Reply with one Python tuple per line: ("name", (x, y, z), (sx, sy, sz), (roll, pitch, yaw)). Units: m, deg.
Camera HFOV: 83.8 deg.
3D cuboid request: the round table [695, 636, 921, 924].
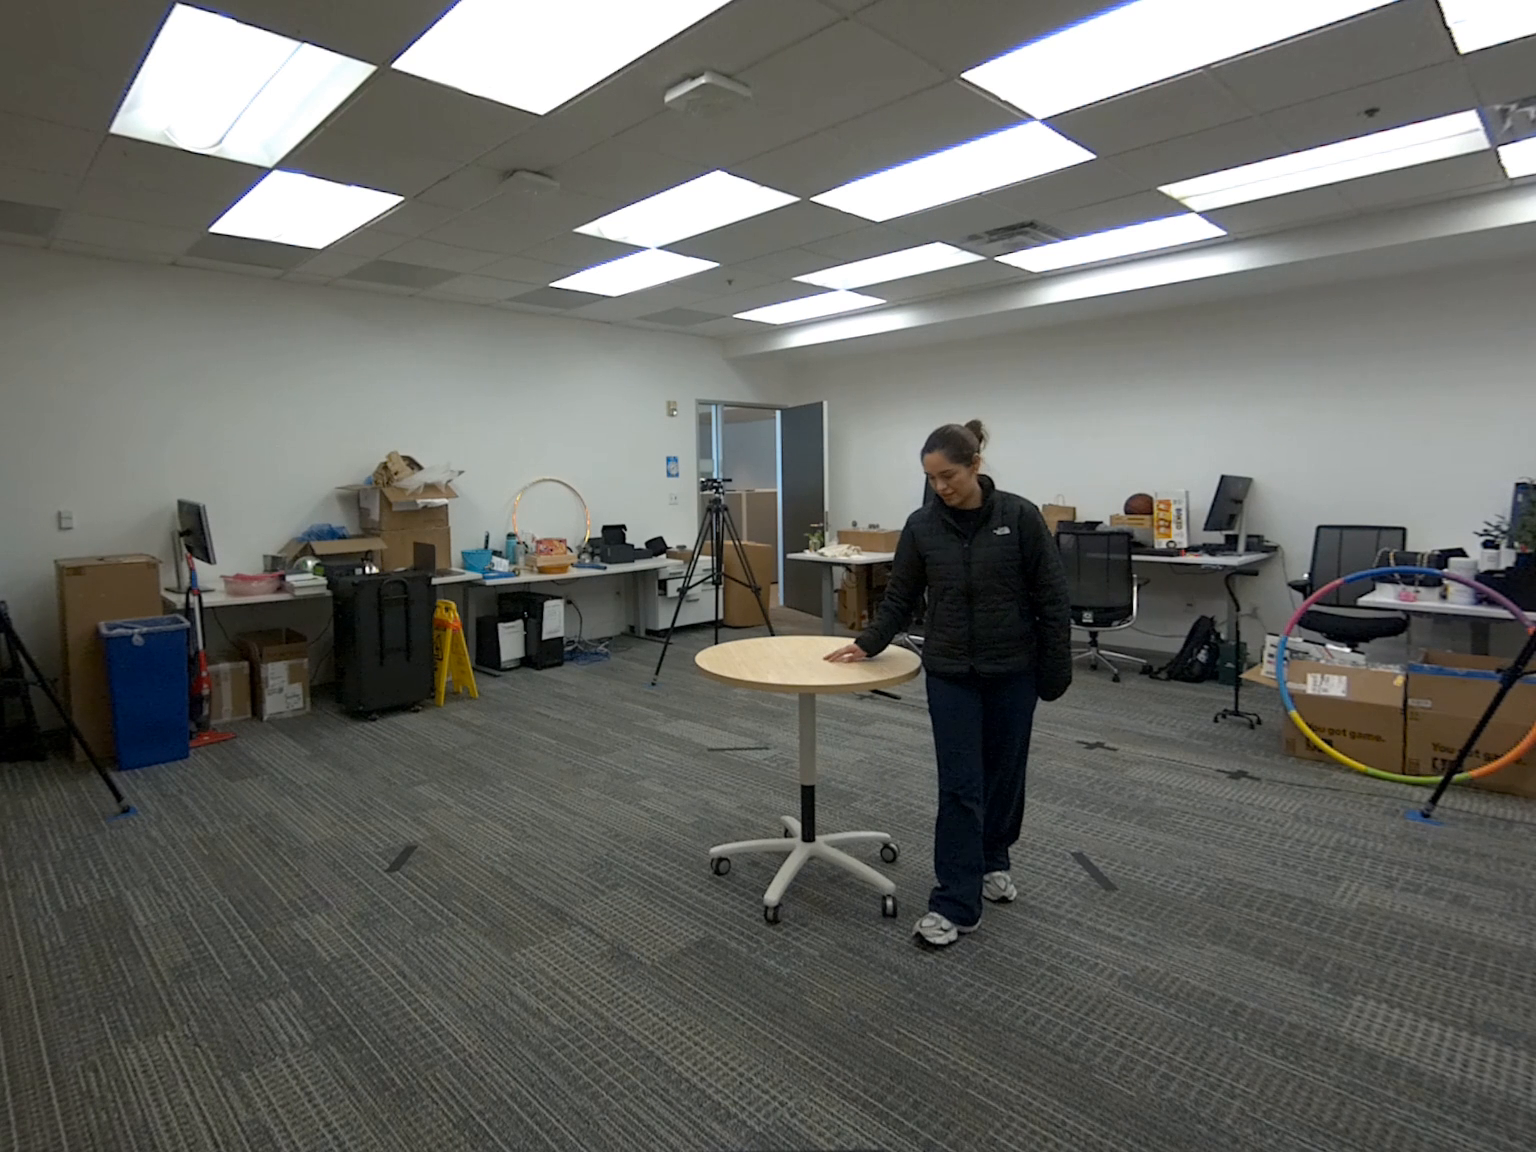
("round table", (0.126, 0.665, 2.957), (0.784, 0.783, 0.789), (-1, 5, -2))
